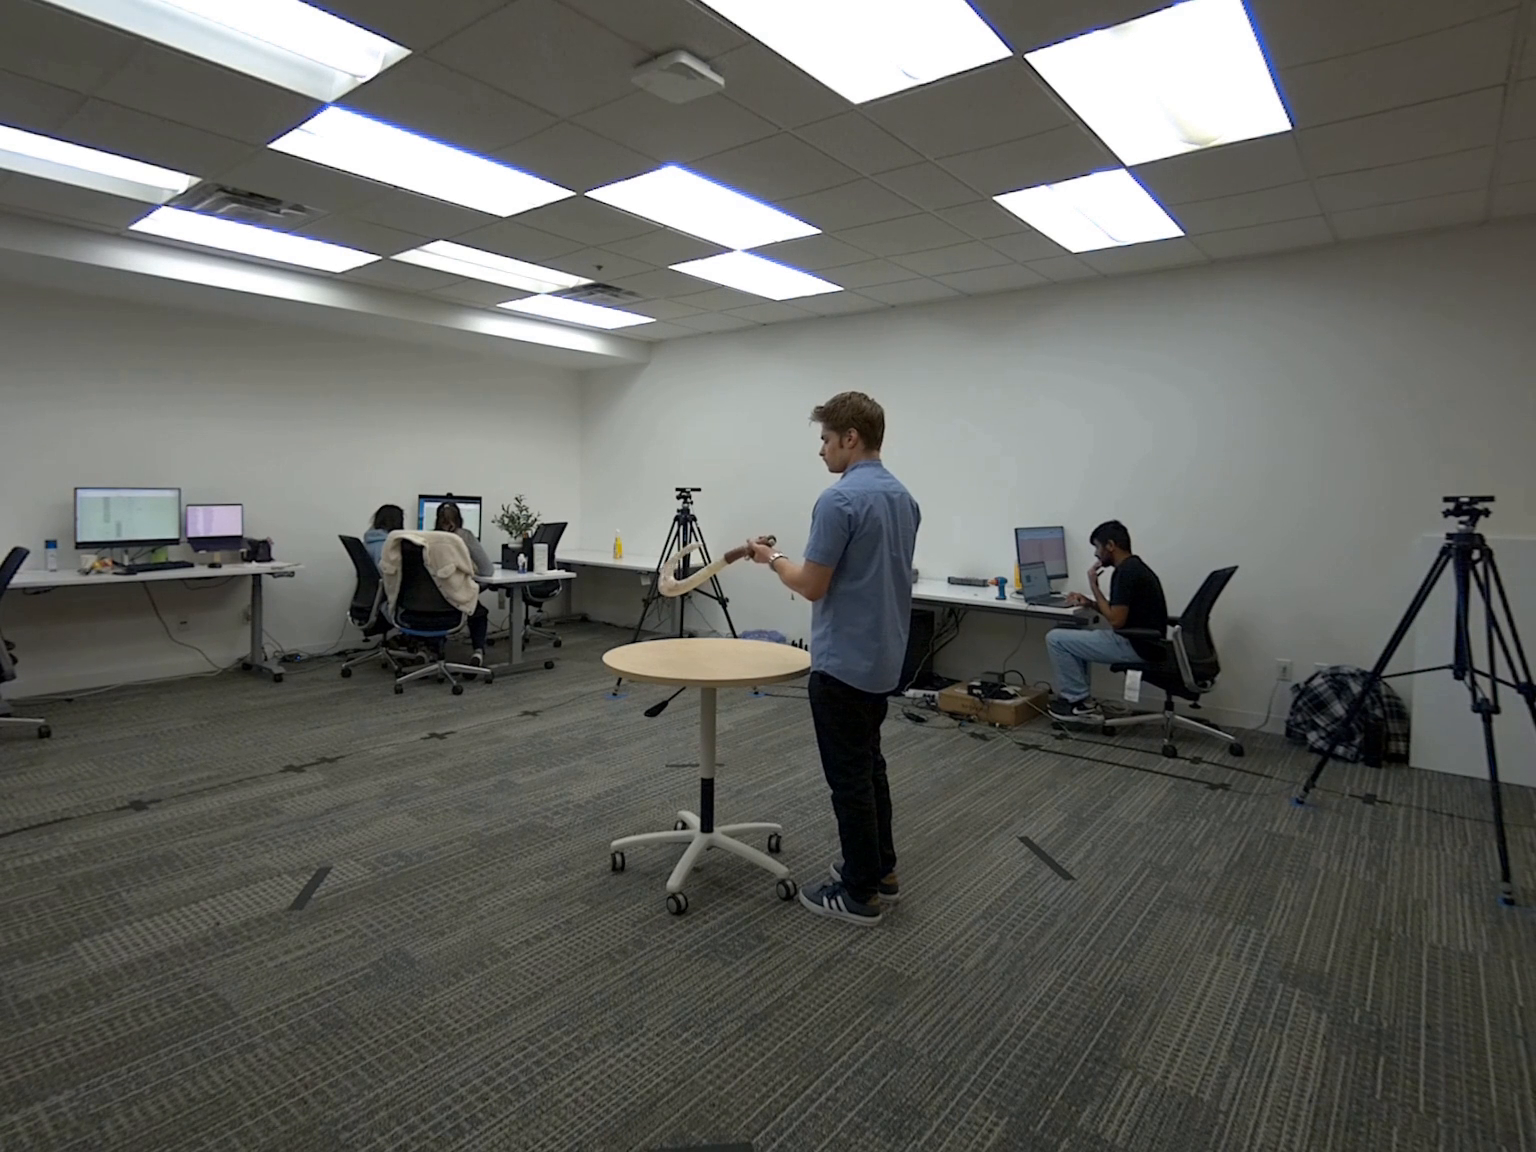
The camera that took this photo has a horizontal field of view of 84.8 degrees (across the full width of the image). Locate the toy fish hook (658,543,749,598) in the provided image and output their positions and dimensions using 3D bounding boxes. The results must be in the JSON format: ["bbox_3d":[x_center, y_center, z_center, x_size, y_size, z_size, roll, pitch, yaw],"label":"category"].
[{"bbox_3d":[-0.204,-0.083,3.066,0.513,0.231,0.046,-23,-41,24],"label":"toy fish hook"}]
